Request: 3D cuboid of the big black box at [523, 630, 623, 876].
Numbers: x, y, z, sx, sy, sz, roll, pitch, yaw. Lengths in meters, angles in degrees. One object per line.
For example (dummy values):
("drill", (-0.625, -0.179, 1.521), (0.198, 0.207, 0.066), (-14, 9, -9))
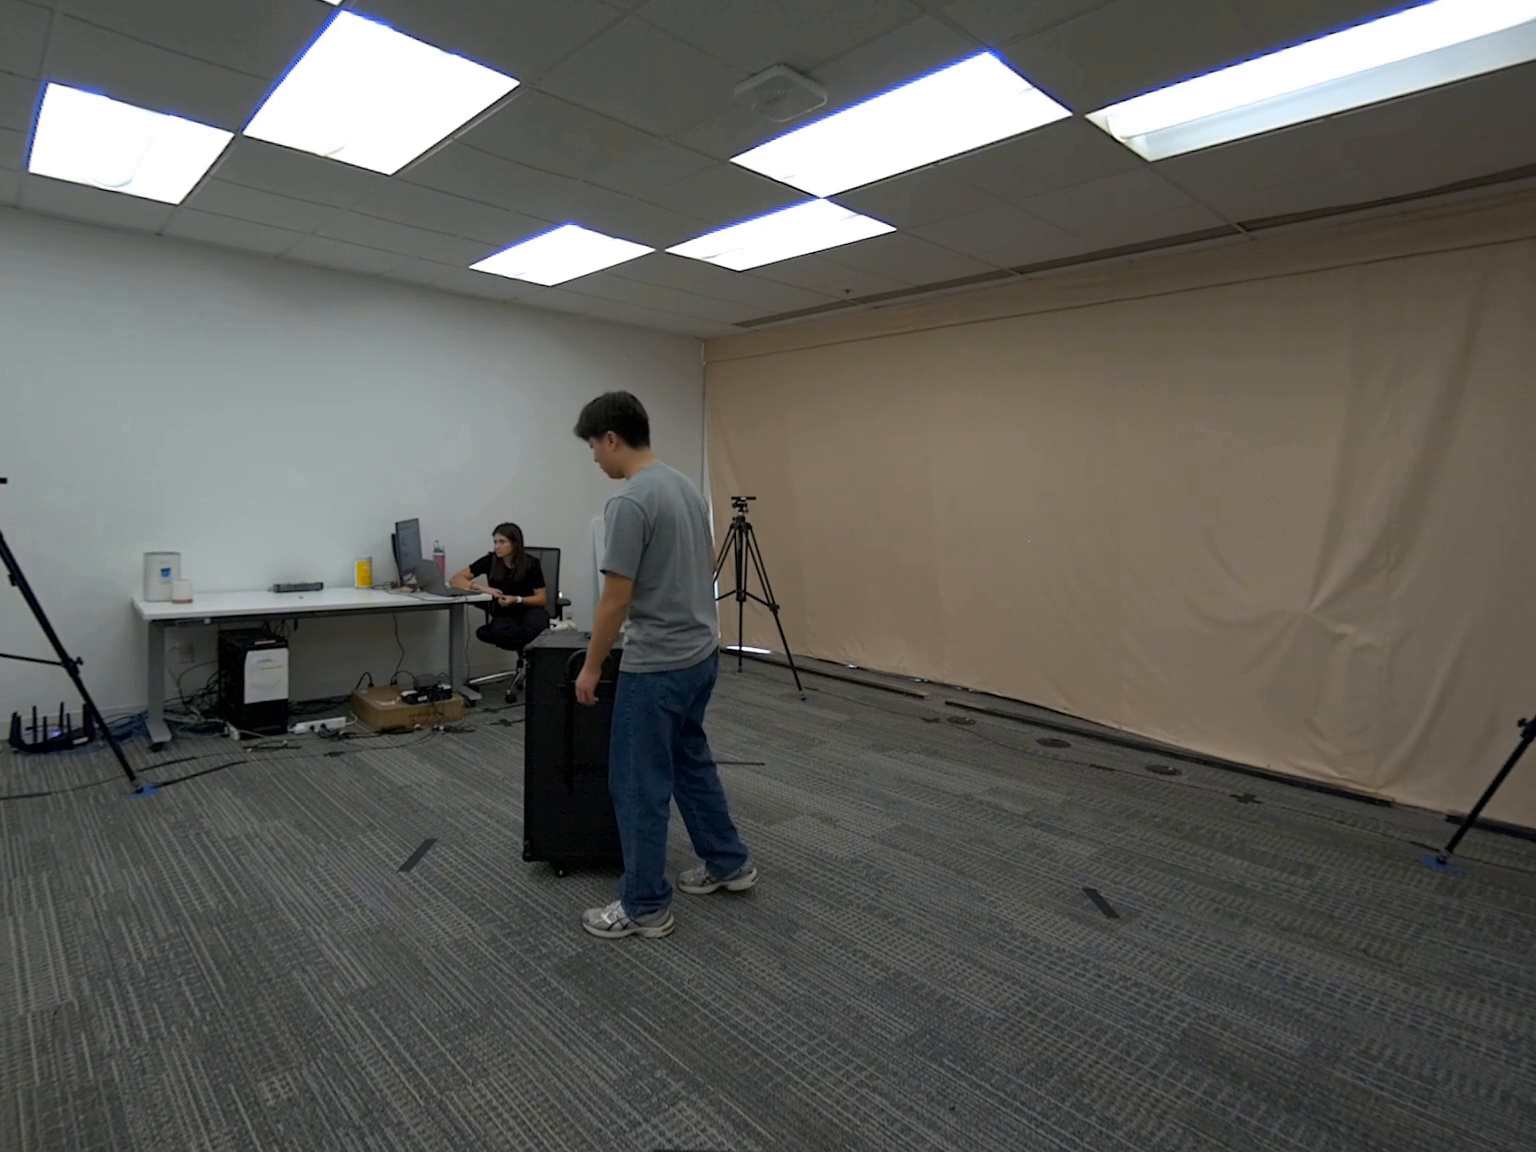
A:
("big black box", (-0.649, 0.662, 3.175), (0.520, 0.859, 0.398), (2, 4, -2))
